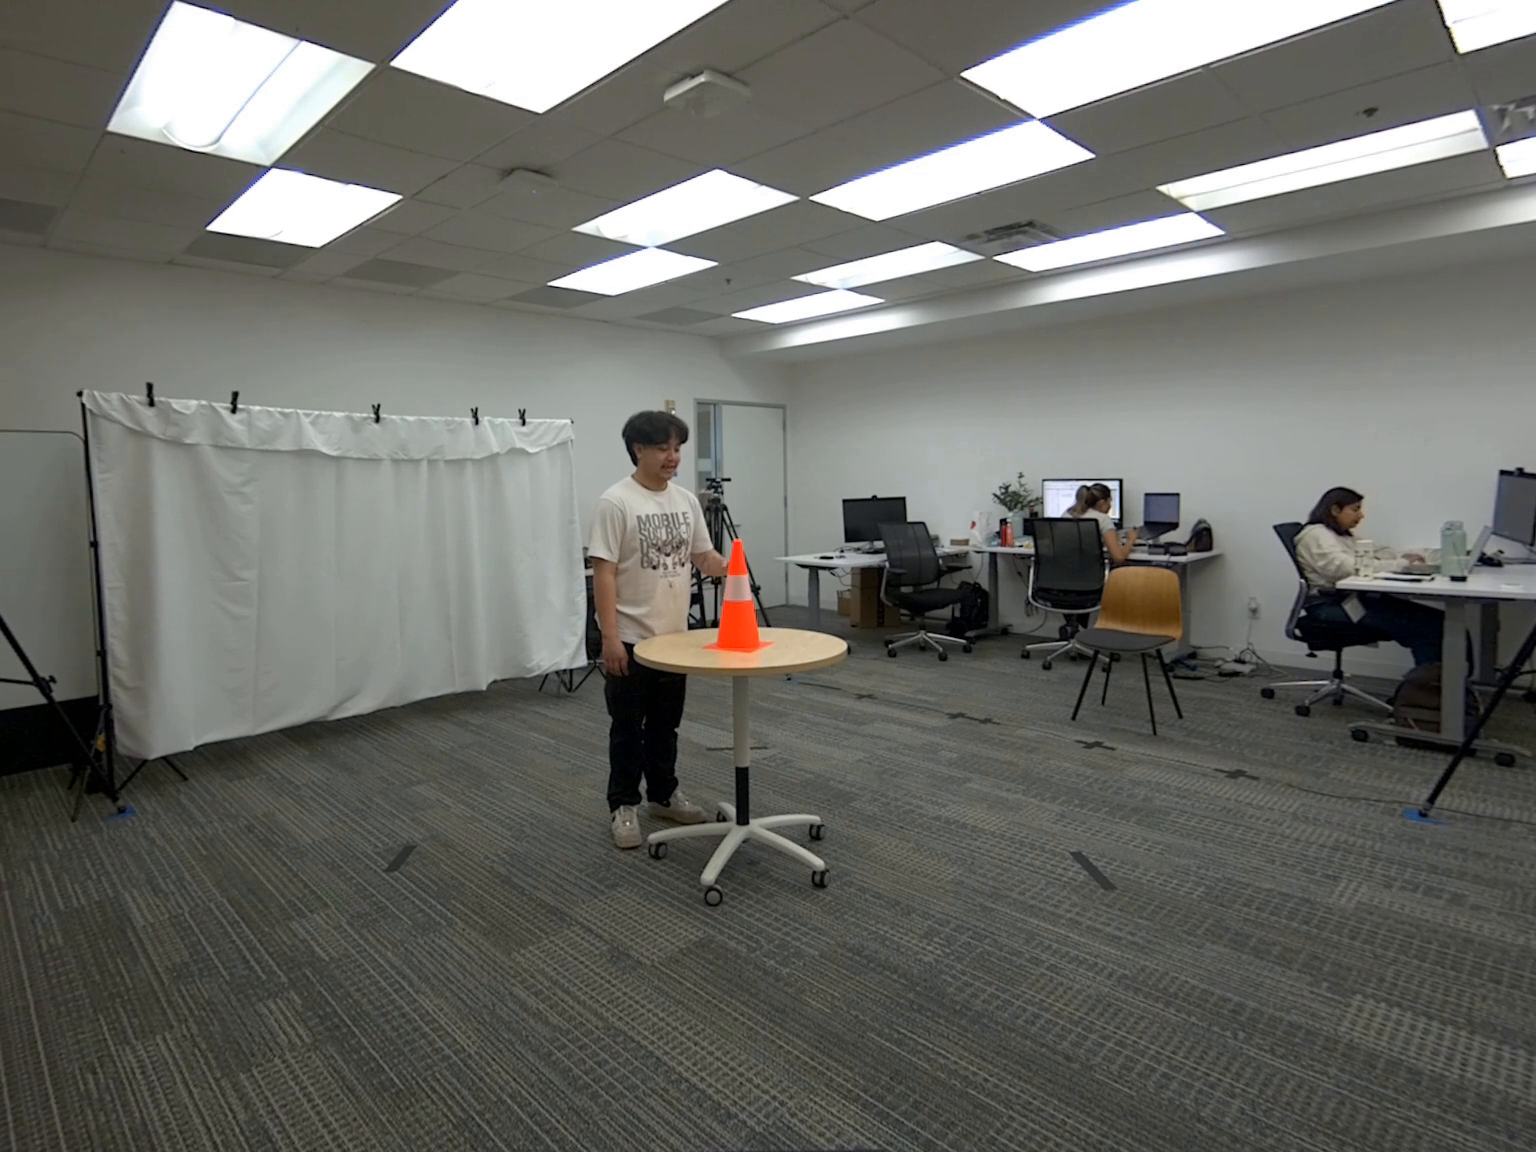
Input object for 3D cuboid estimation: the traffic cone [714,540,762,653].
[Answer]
[{"bbox_3d":[-0.109,0.063,3.058,0.208,0.382,0.201,0,5,28],"label":"traffic cone"}]
